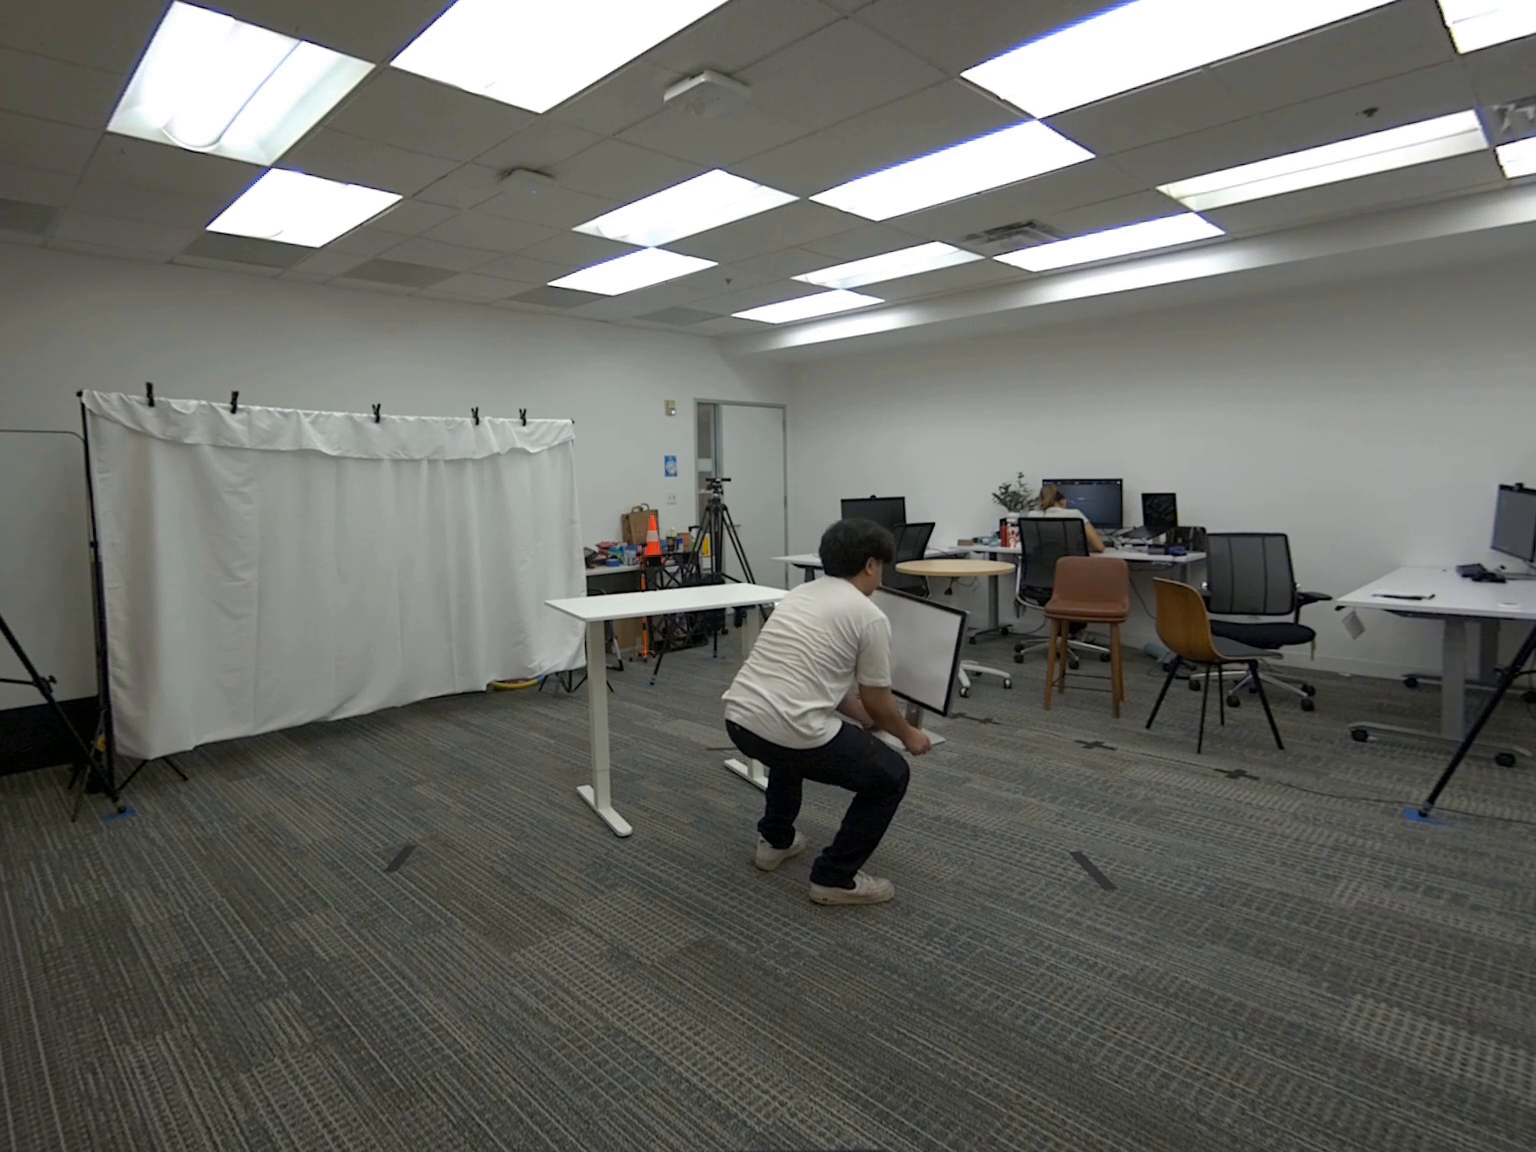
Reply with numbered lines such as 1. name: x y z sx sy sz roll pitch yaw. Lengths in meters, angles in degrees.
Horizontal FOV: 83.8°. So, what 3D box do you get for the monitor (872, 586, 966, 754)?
1. monitor: 0.525 0.330 3.132 0.204 0.551 0.584 1 8 -34
